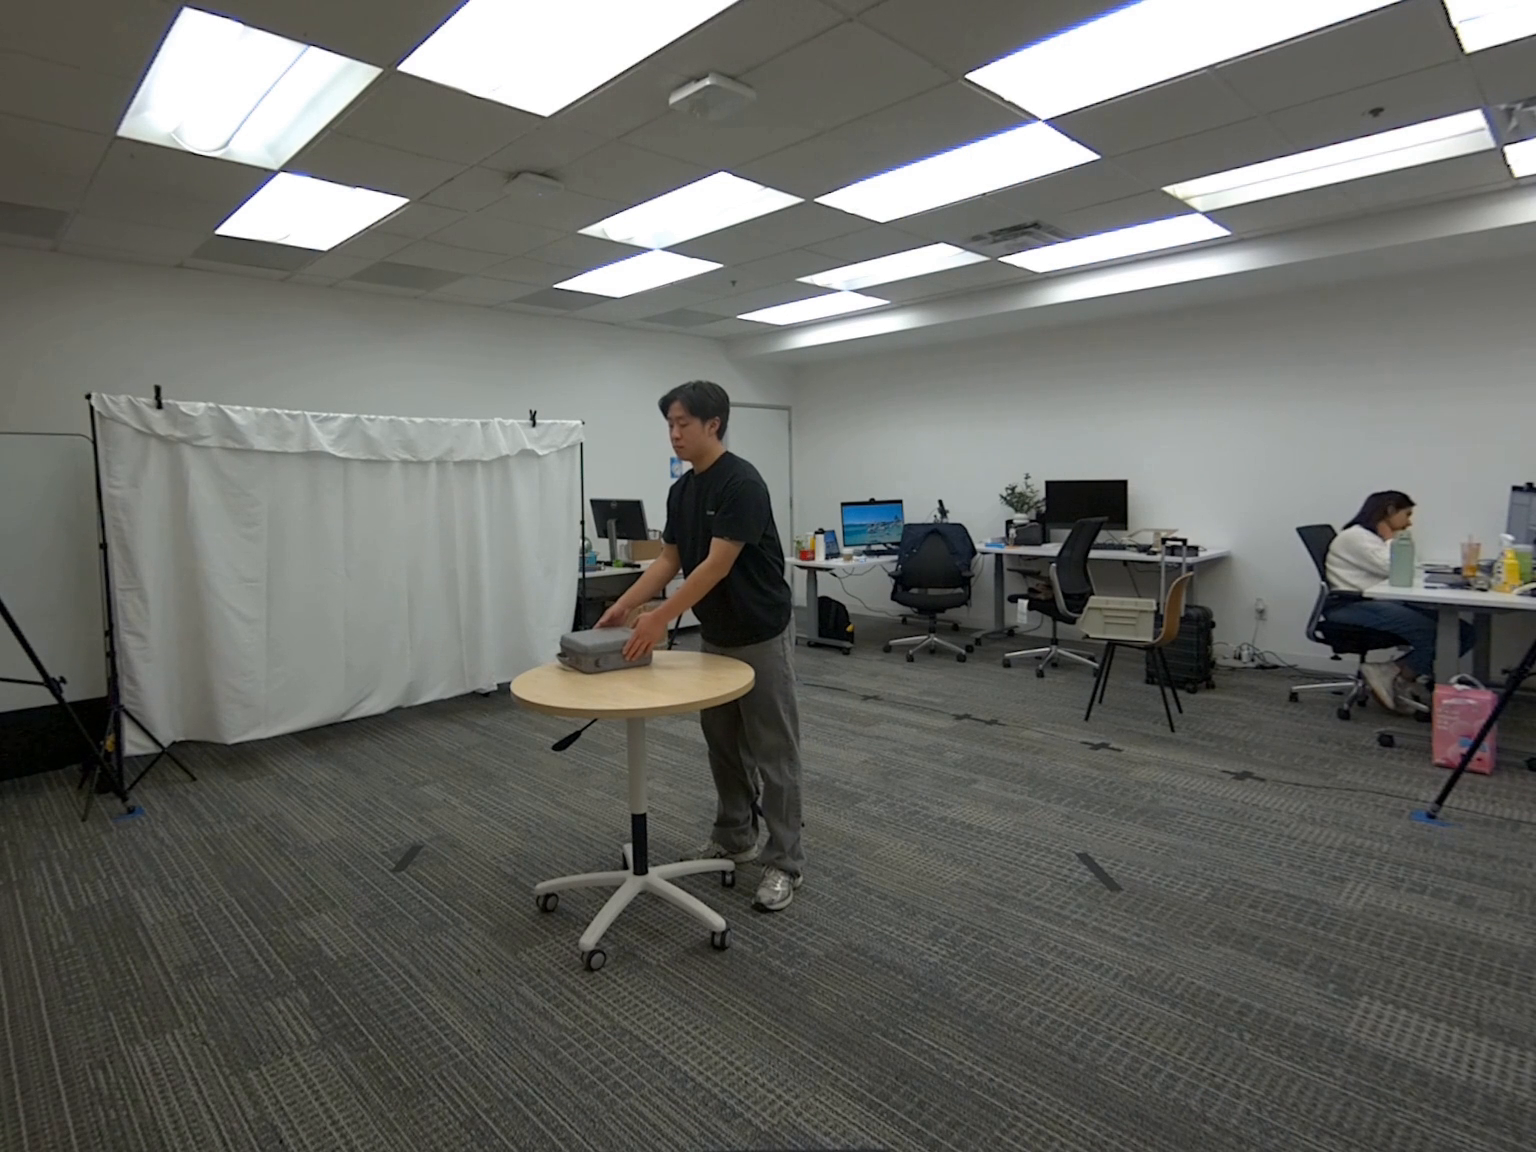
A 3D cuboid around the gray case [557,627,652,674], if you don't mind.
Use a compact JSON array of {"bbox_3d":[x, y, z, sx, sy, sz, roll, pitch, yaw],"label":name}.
[{"bbox_3d":[-0.560,0.250,2.887,0.281,0.102,0.271,-7,9,-30],"label":"gray case"}]
